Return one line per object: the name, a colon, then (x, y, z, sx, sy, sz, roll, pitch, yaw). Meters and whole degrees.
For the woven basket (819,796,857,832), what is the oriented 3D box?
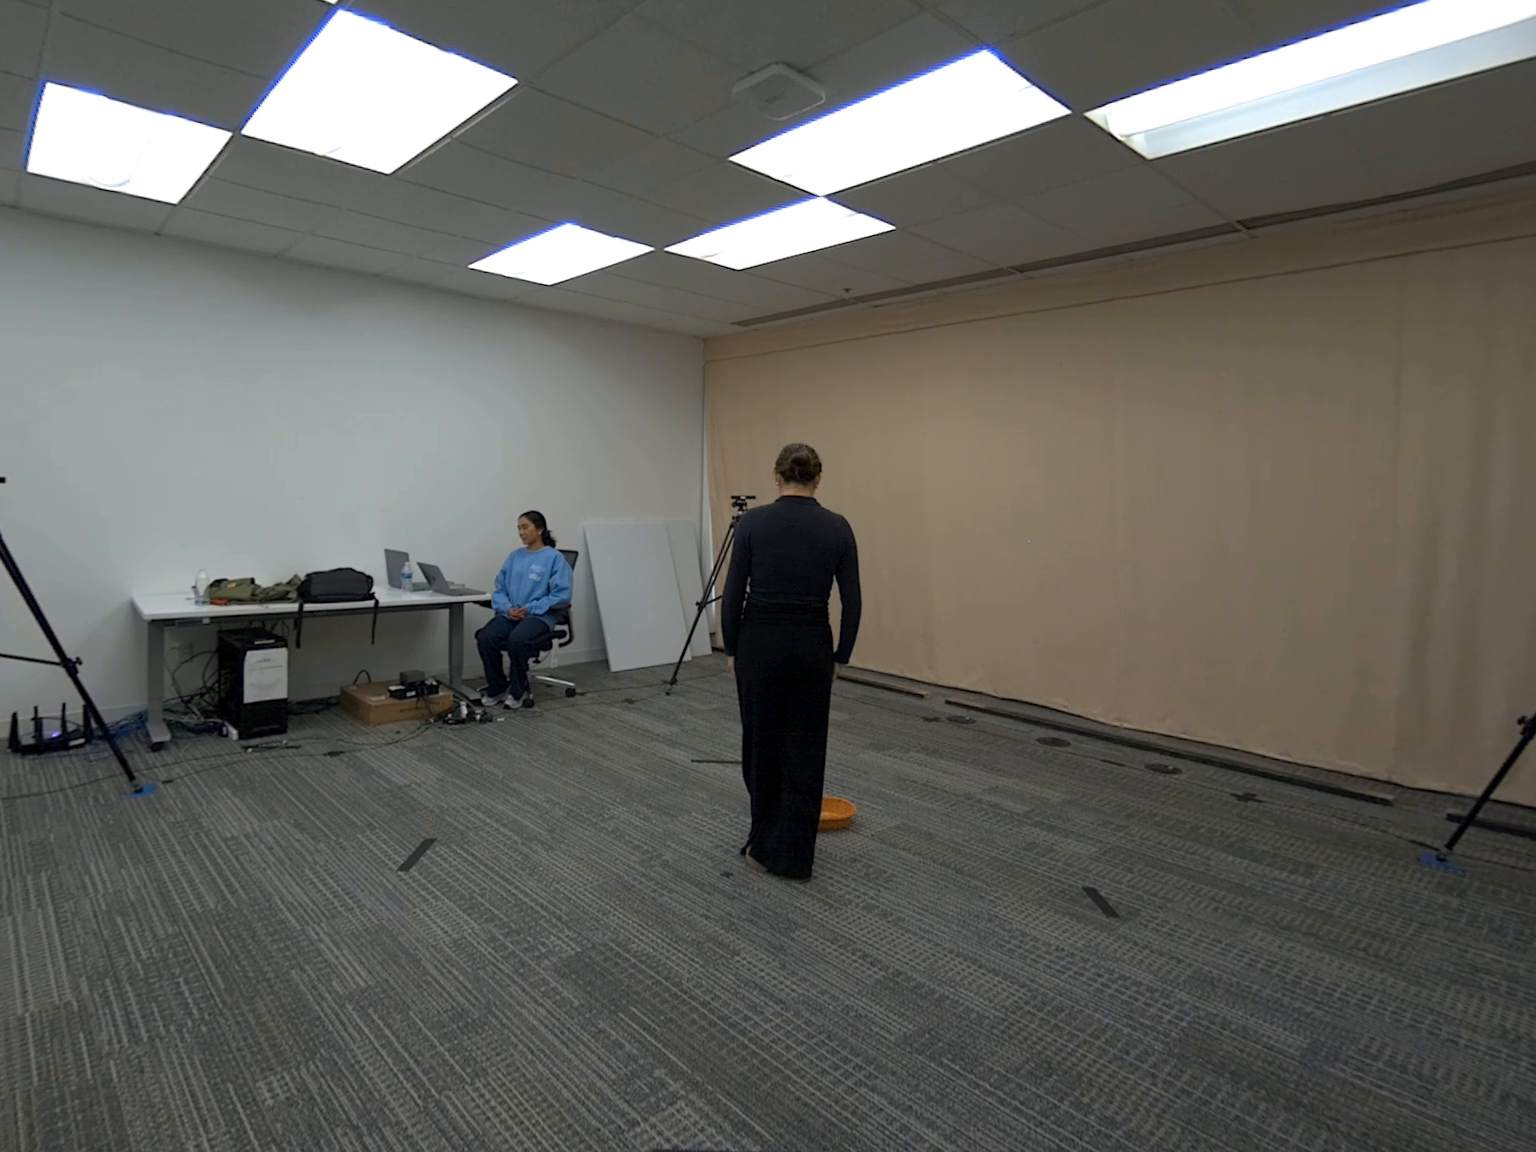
woven basket: (0.195, 1.027, 3.631, 0.348, 0.073, 0.255, 1, 7, -8)
